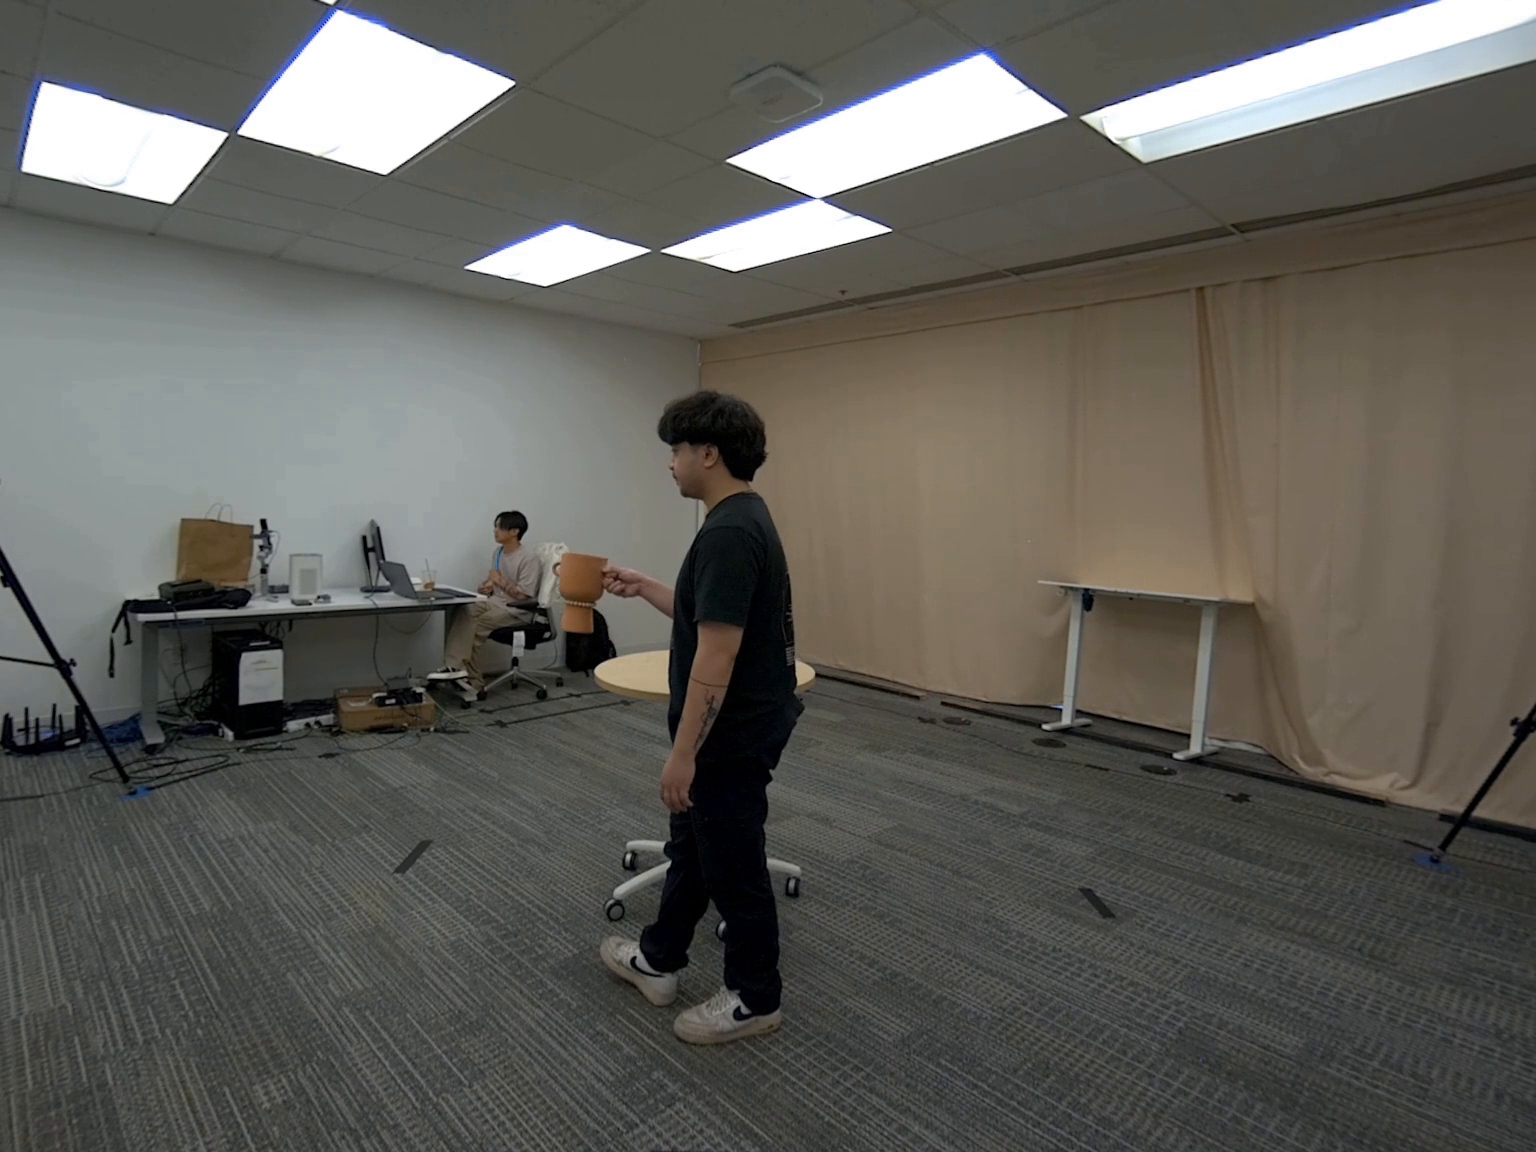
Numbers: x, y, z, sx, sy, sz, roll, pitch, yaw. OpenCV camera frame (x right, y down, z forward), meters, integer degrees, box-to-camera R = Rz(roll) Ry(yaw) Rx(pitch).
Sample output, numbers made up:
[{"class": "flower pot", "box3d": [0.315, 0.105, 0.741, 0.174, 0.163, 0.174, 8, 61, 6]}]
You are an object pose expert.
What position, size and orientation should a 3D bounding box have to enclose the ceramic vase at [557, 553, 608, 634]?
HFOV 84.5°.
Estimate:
[{"class": "ceramic vase", "box3d": [-0.542, 0.050, 2.430, 0.131, 0.220, 0.163, 6, 0, -39]}]
